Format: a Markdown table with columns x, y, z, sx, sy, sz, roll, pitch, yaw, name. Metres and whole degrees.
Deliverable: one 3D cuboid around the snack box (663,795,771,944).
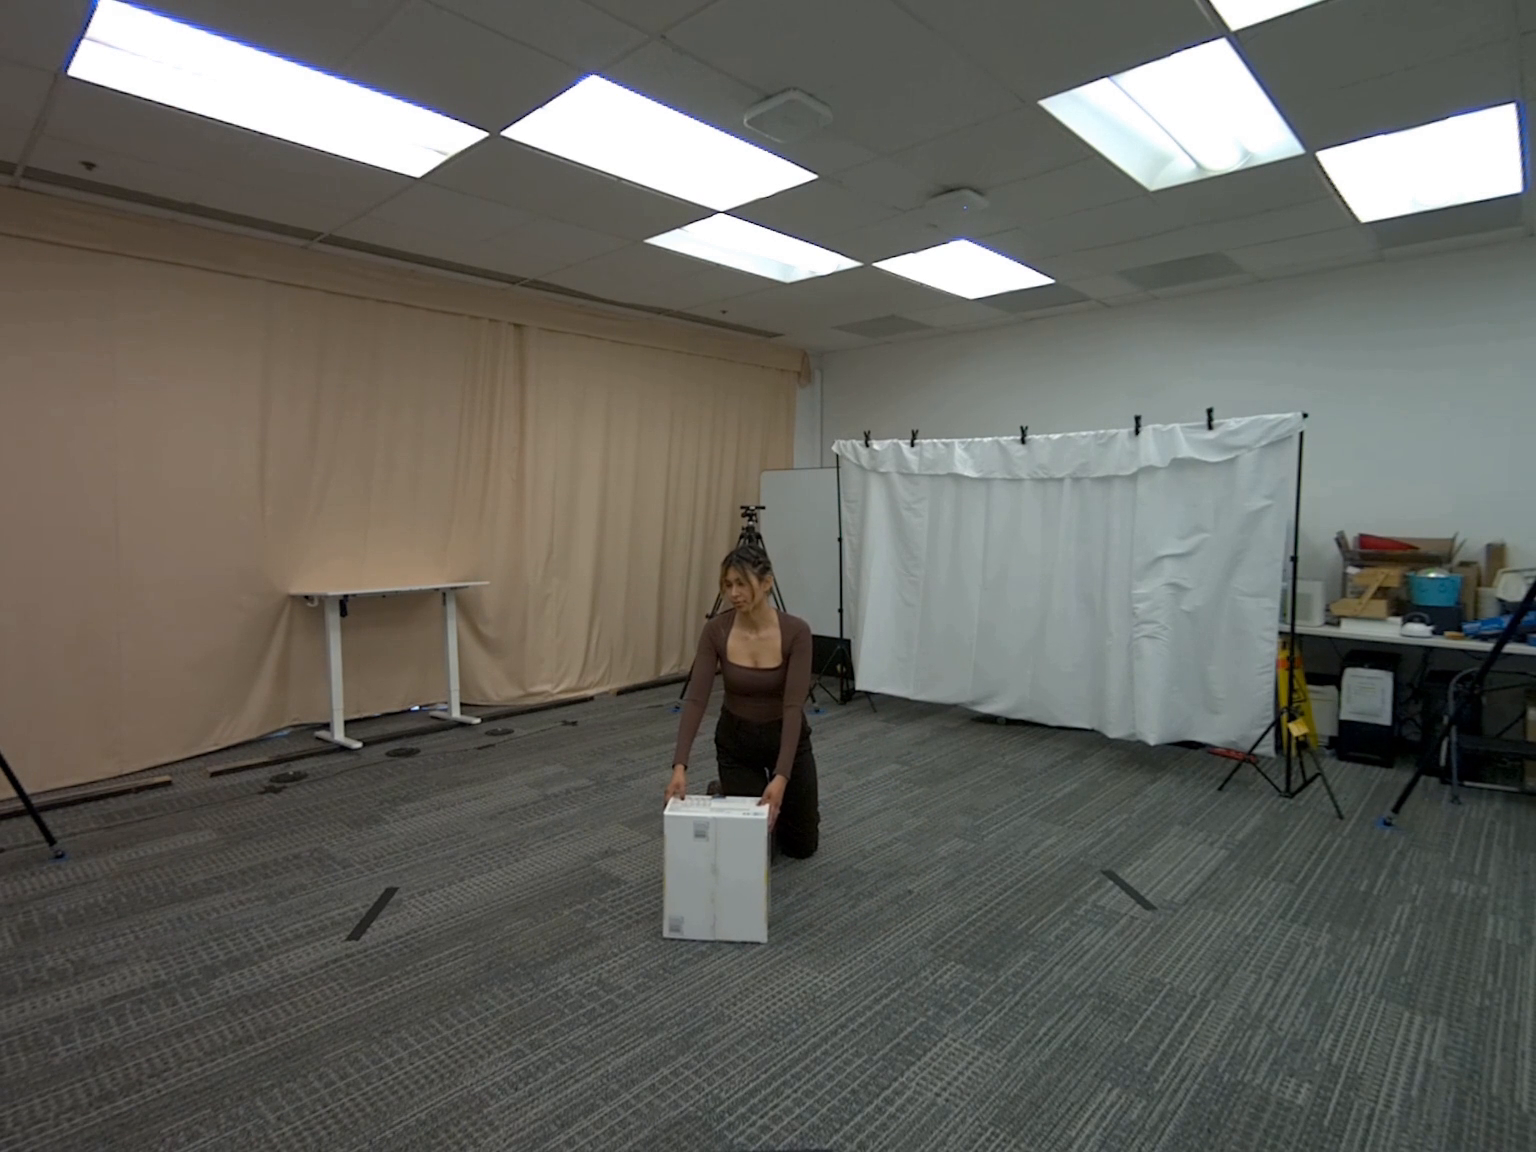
| x | y | z | sx | sy | sz | roll | pitch | yaw | name |
| --- | --- | --- | --- | --- | --- | --- | --- | --- | --- |
| -0.162 | 0.958 | 2.782 | 0.342 | 0.405 | 0.205 | 1 | 1 | 4 | snack box |
